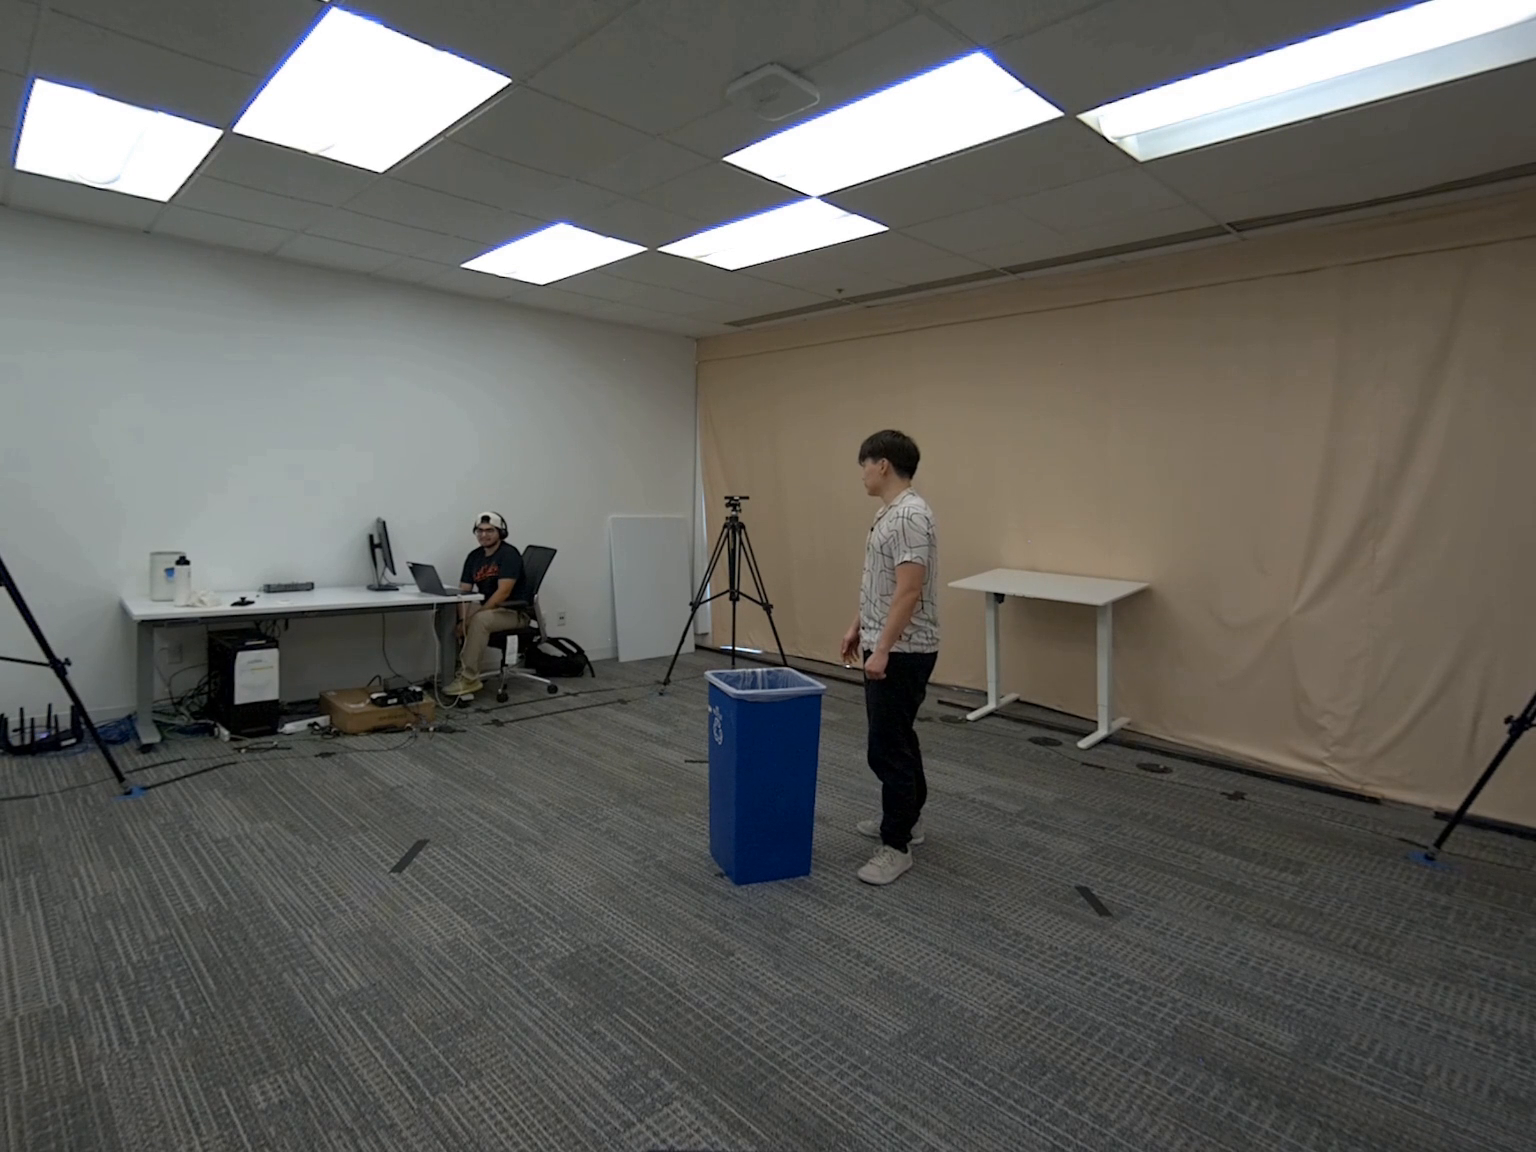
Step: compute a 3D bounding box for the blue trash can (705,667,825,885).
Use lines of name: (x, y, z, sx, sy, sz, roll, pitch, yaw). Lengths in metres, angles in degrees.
blue trash can: (-0.034, 0.741, 3.179, 0.368, 0.712, 0.385, 0, 4, -23)
